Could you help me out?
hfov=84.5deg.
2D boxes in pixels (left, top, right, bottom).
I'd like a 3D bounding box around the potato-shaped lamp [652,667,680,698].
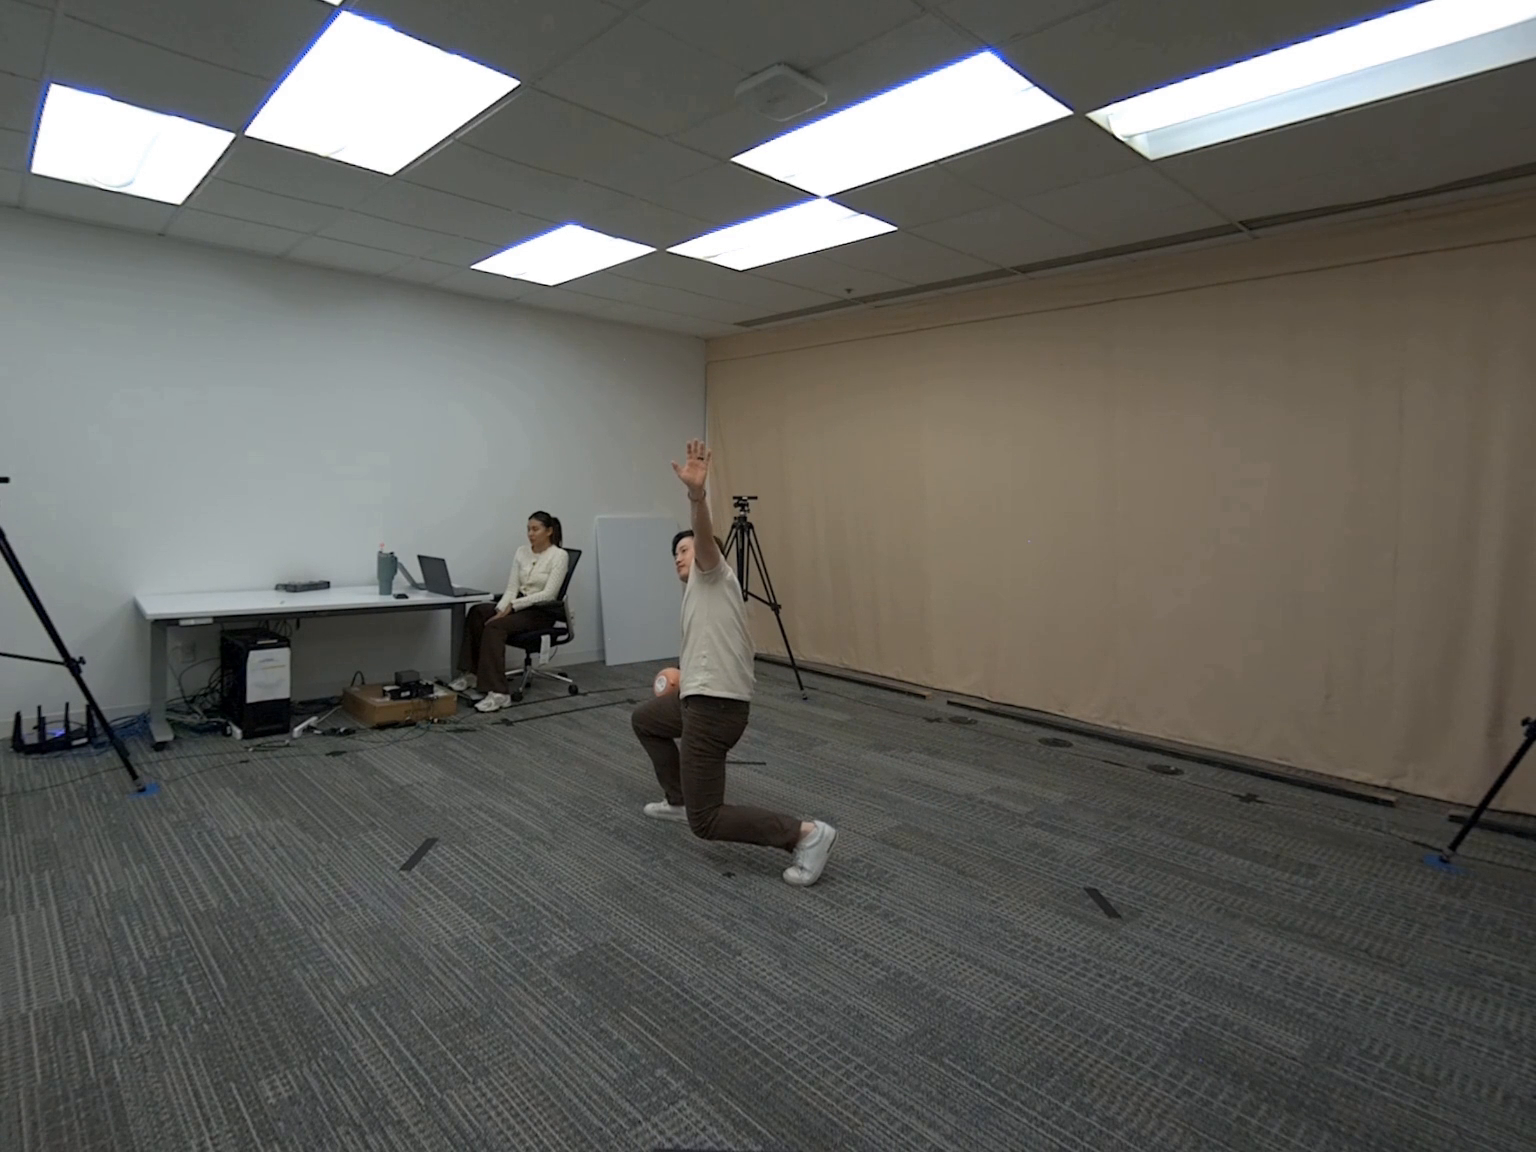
[{"bbox_3d":[-0.447,0.527,3.991,0.192,0.164,0.177,23,18,-40],"label":"potato-shaped lamp"}]
